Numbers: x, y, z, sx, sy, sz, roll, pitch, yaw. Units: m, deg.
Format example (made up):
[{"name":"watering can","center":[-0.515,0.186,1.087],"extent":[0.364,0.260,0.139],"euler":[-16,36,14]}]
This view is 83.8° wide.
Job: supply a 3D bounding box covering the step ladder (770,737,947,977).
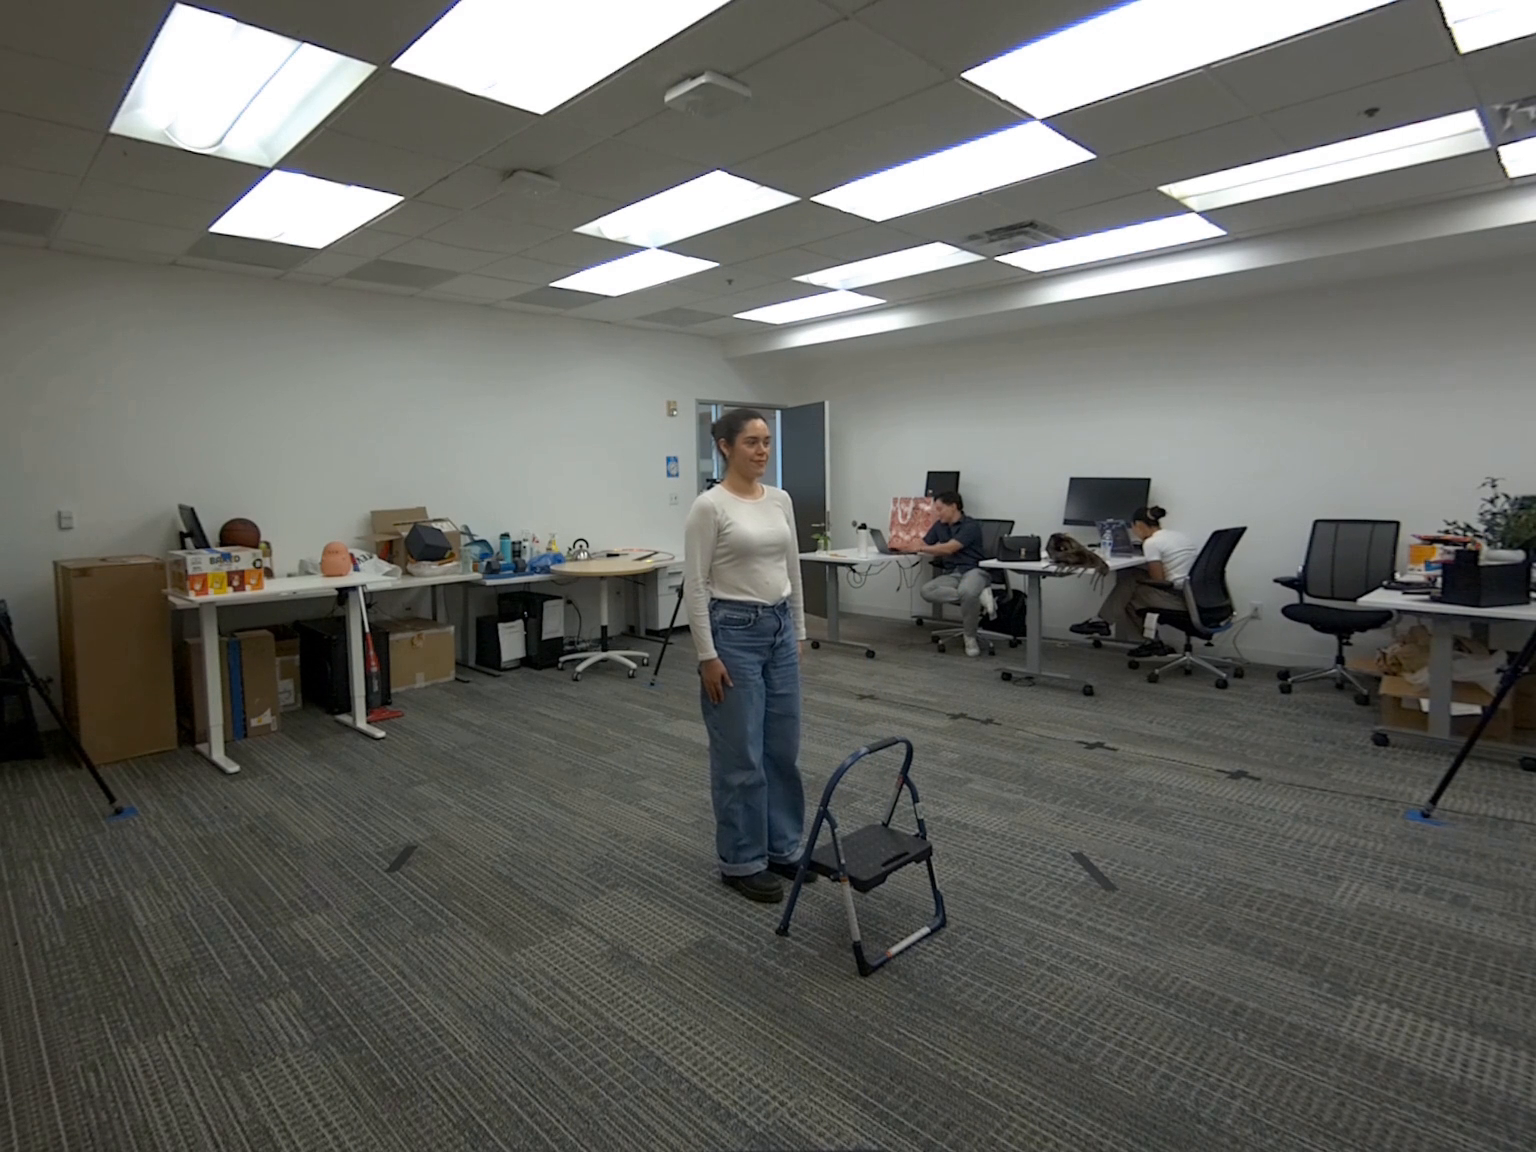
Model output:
[{"name":"step ladder","center":[0.289,0.792,2.626],"extent":[0.360,0.604,0.419],"euler":[3,6,45]}]
